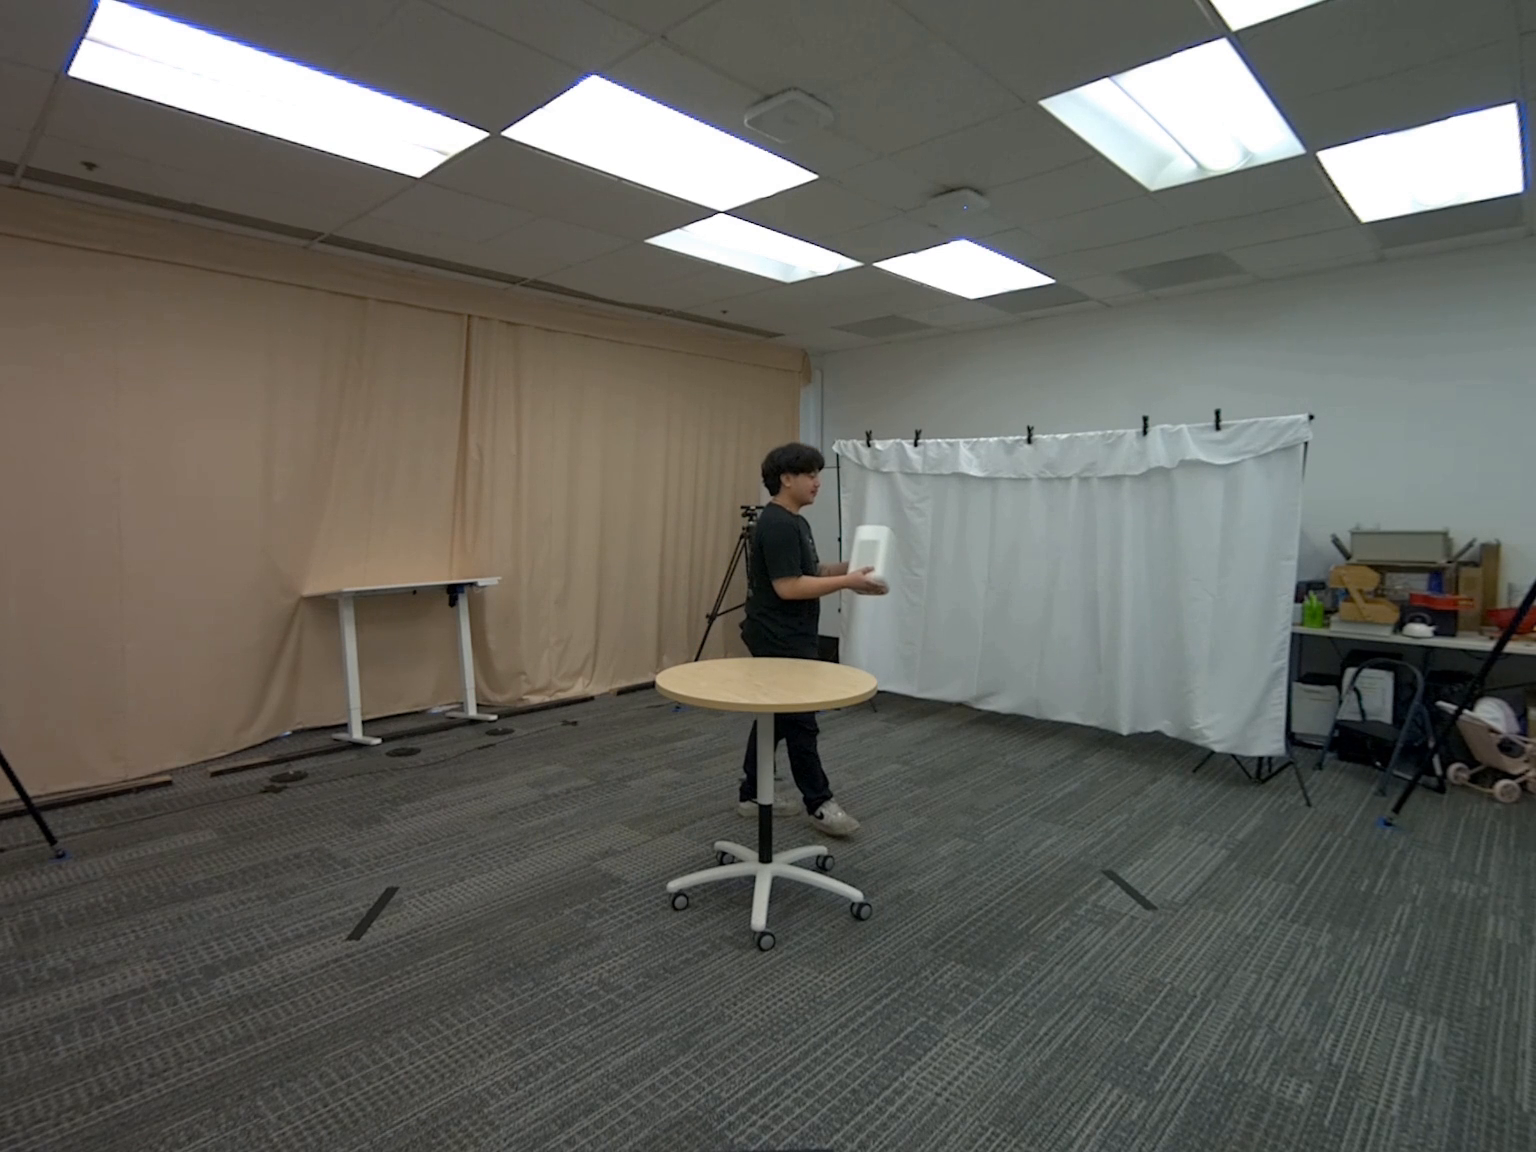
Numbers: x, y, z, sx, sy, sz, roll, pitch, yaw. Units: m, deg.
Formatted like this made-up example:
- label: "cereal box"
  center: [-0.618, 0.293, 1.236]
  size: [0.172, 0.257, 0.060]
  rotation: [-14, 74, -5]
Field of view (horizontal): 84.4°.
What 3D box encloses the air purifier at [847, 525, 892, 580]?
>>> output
- label: "air purifier"
  center: [0.448, -0.066, 3.596]
  size: [0.176, 0.267, 0.165]
  rotation: [0, -29, 24]
